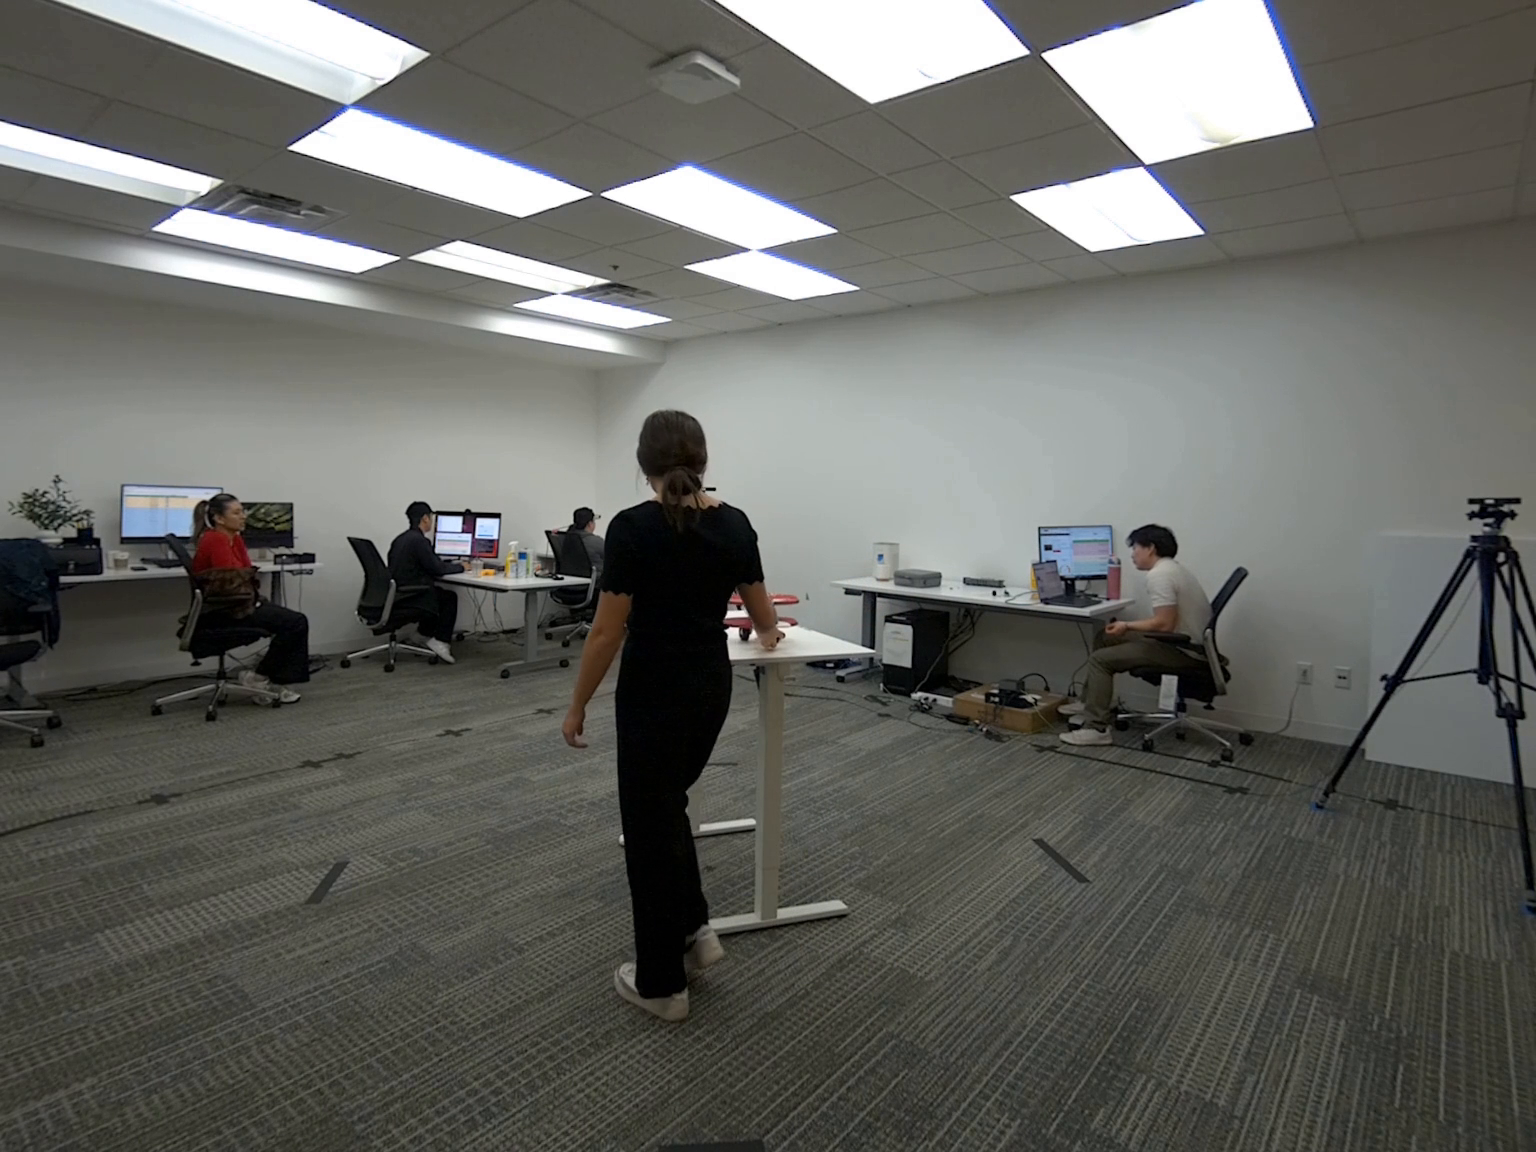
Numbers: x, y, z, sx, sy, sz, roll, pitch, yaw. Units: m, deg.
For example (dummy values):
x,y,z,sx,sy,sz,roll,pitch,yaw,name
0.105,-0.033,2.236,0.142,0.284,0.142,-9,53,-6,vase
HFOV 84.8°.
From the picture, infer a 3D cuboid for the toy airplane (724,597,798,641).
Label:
x,y,z,sx,sy,sz,roll,pitch,yaw,name
0.000,0.135,2.768,0.243,0.157,0.267,0,-1,-40,toy airplane
